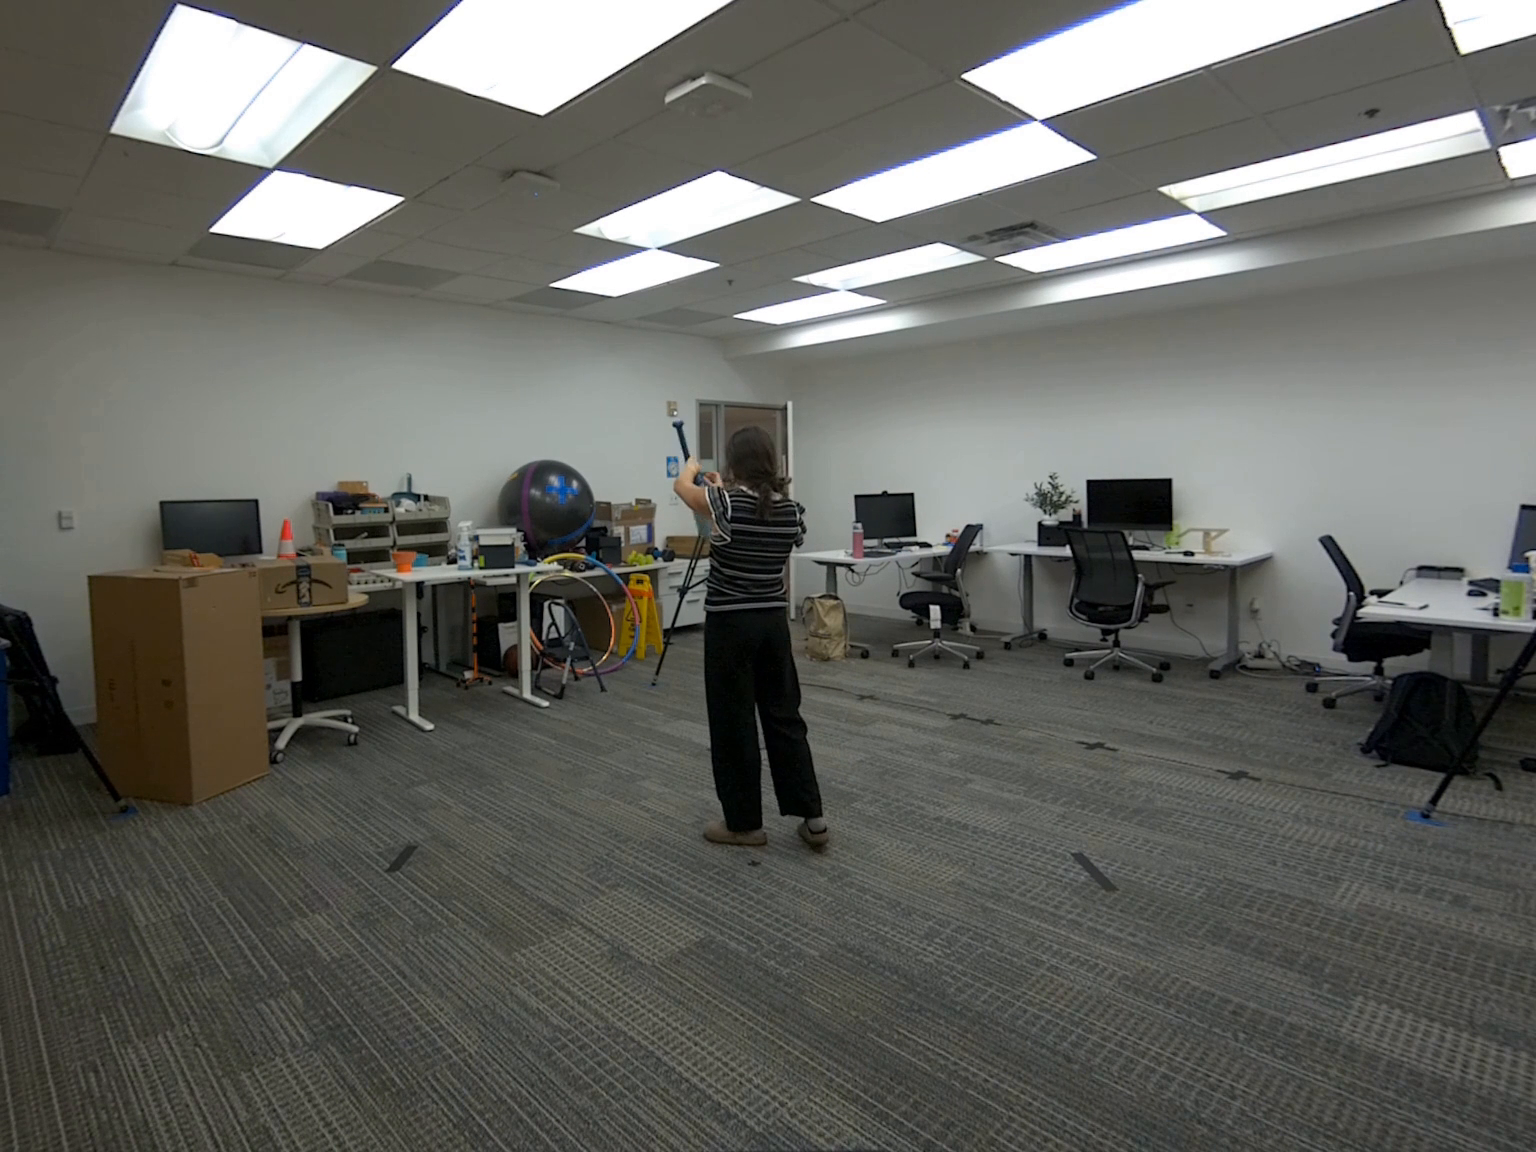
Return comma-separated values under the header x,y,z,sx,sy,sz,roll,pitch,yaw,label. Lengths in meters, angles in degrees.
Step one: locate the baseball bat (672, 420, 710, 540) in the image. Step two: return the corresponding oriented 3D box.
x,y,z,sx,sy,sz,roll,pitch,yaw,label
-0.314,-0.420,3.678,0.089,0.529,0.091,-13,25,5,baseball bat
